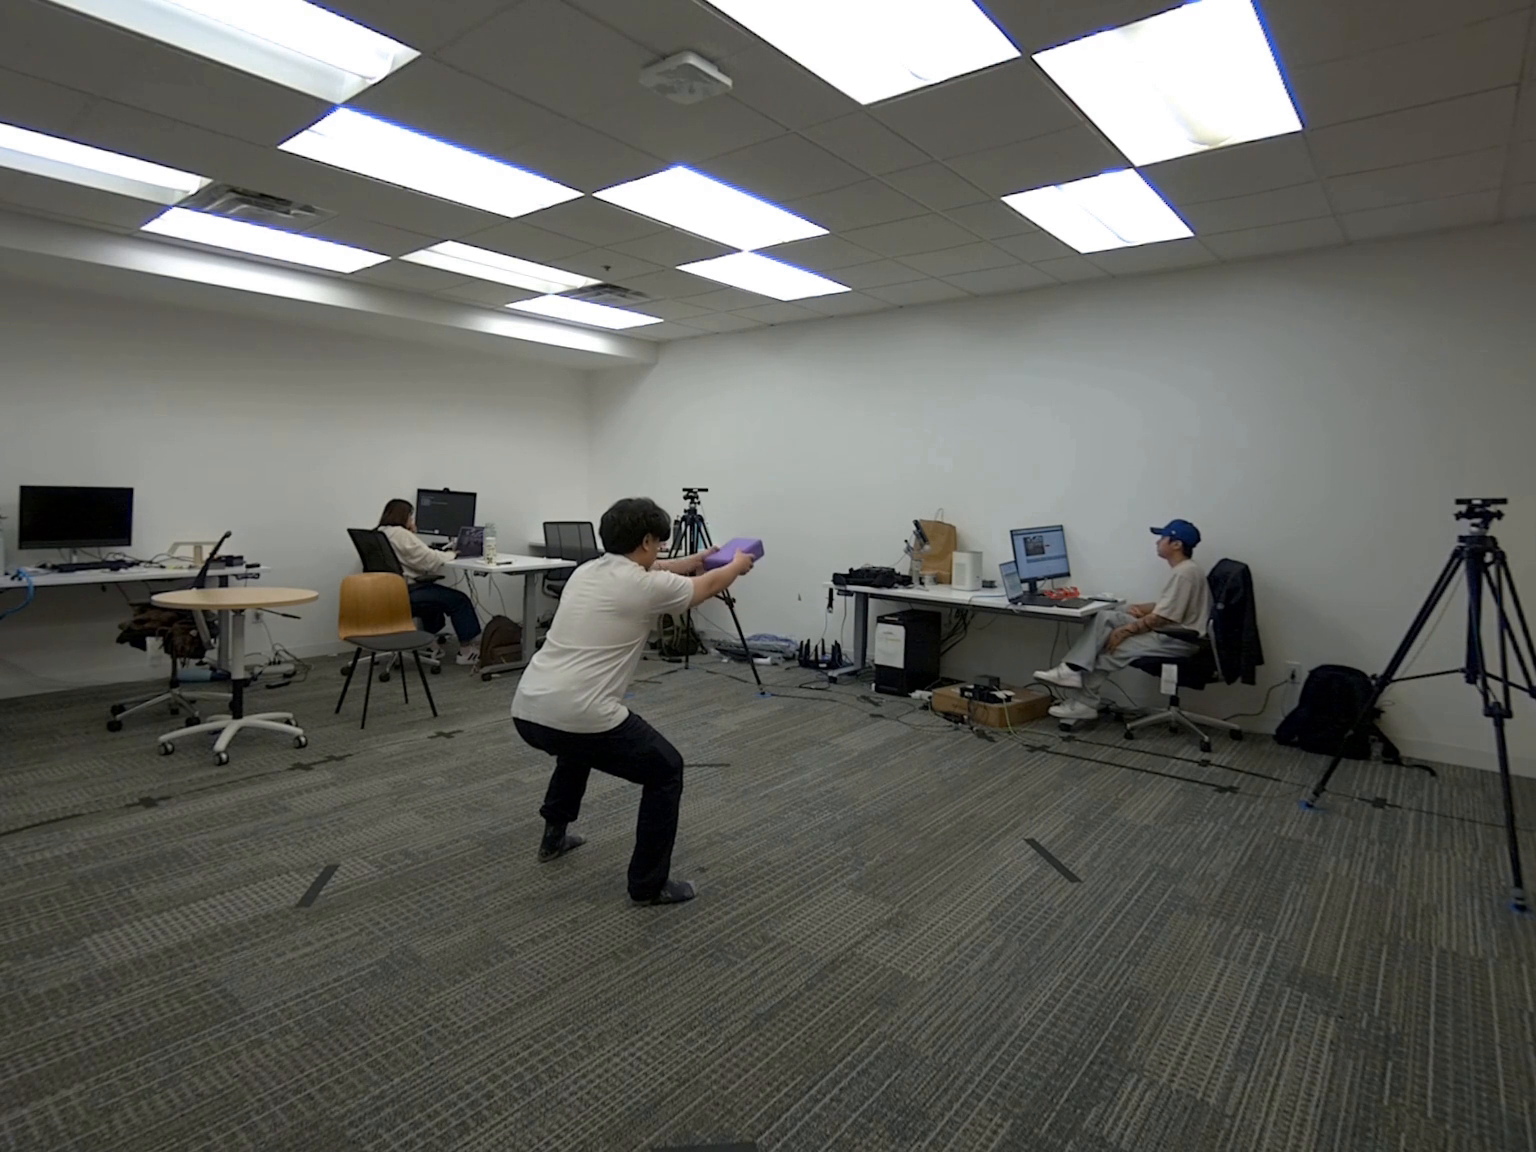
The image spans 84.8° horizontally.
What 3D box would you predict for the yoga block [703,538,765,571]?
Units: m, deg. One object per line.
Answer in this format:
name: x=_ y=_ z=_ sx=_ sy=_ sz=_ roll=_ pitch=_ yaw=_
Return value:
yoga block: x=-0.145 y=-0.095 z=3.516 sx=0.154 sy=0.075 sz=0.227 roll=5 pitch=28 yaw=35
